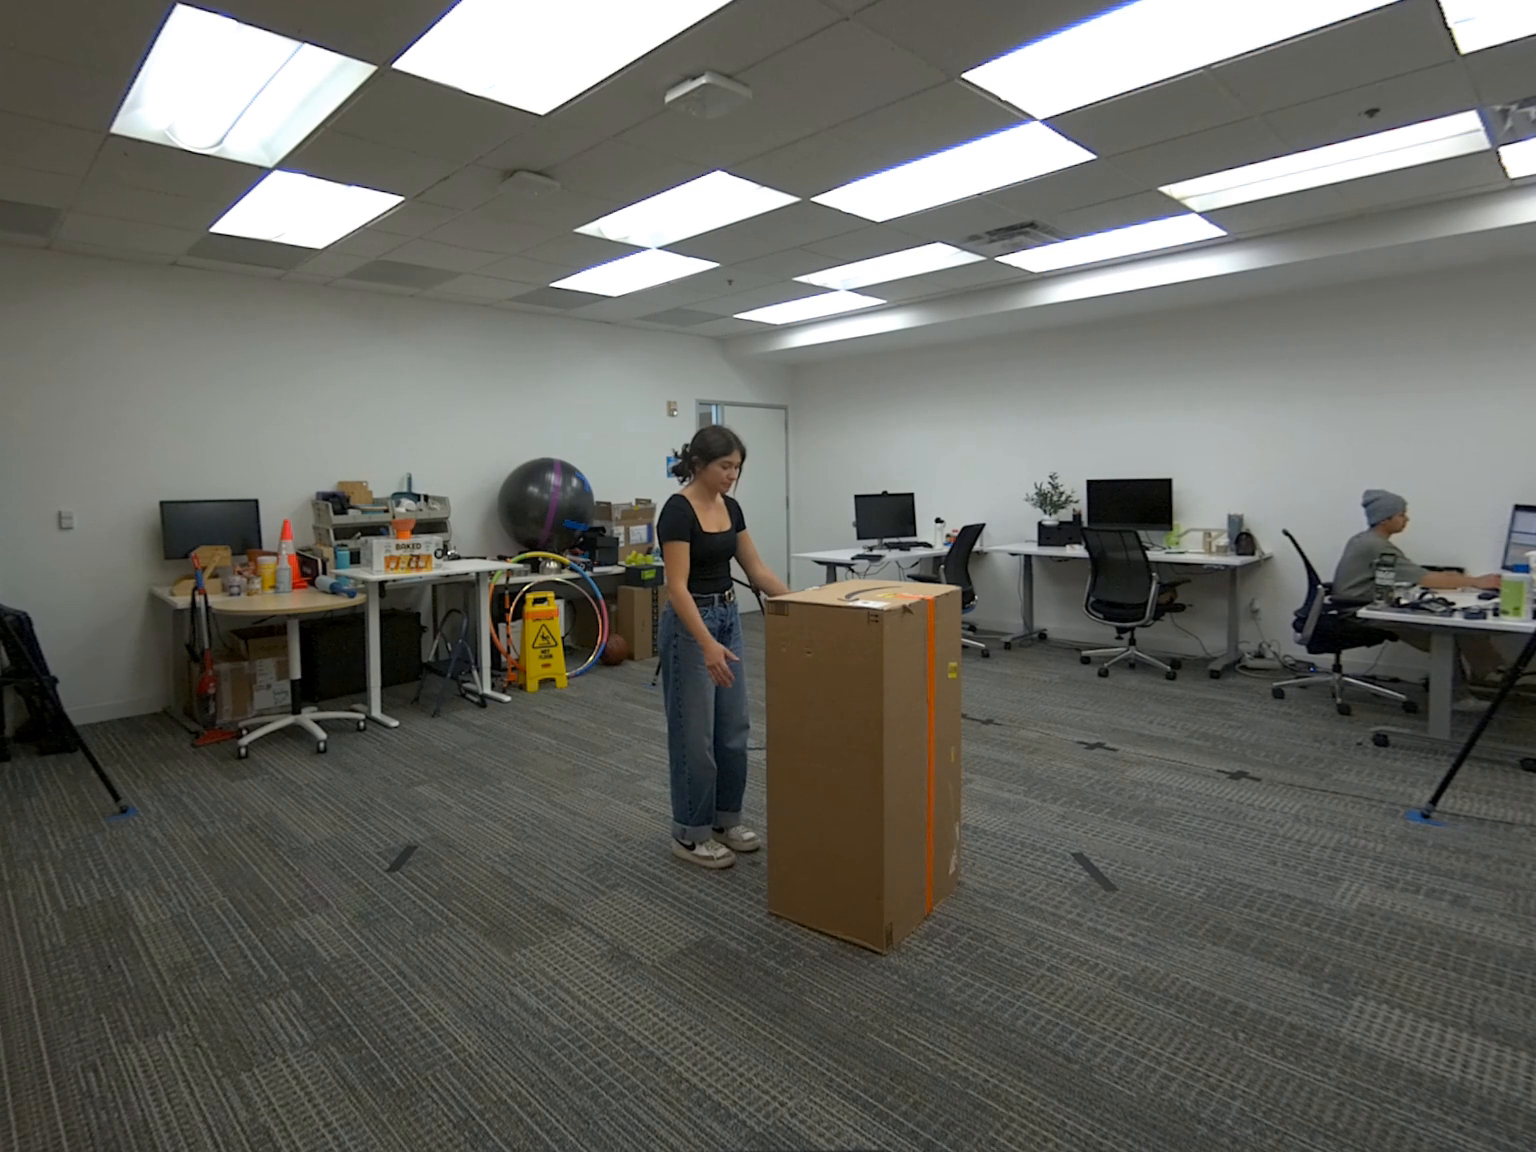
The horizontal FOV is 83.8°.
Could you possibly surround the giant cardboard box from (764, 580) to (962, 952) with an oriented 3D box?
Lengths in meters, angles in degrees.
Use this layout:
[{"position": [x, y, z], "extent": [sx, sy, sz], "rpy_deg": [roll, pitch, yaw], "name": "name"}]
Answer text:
[{"position": [0.331, 0.564, 2.804], "extent": [0.438, 1.022, 0.563], "rpy_deg": [2, 5, 36], "name": "giant cardboard box"}]
